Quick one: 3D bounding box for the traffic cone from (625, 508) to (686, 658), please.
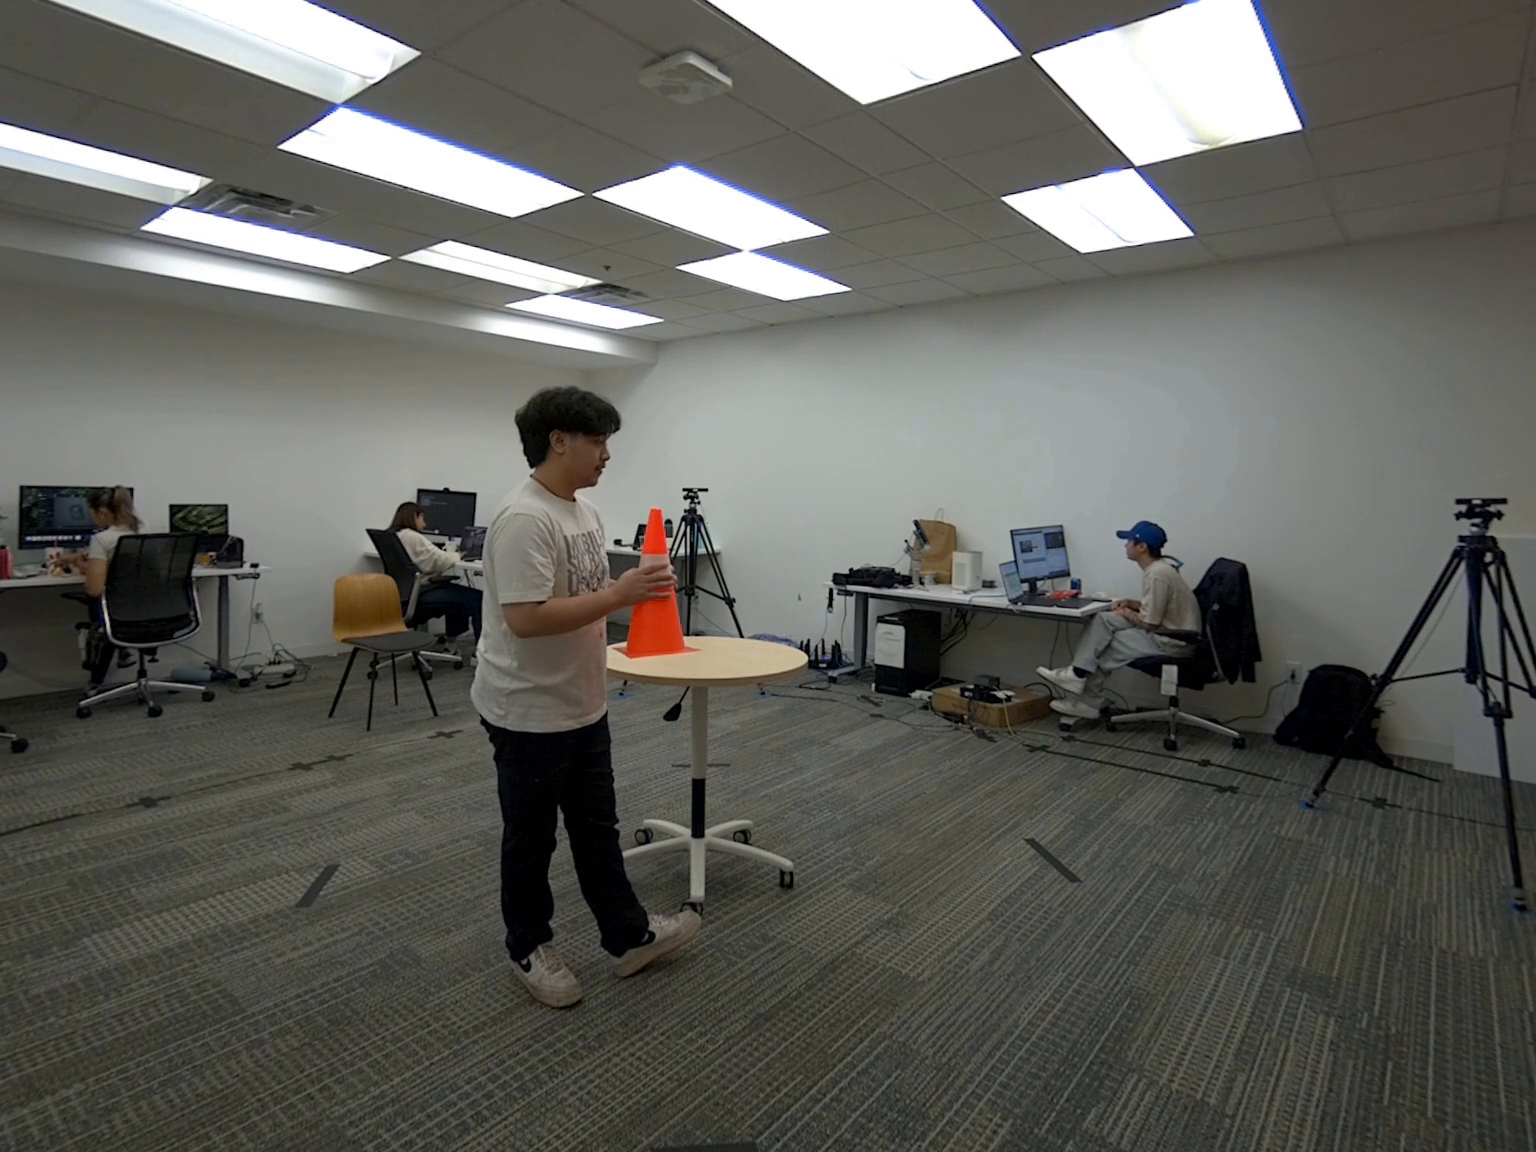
[{"bbox_3d":[-0.315,0.015,2.263,0.205,0.383,0.203,1,1,0],"label":"traffic cone"}]
